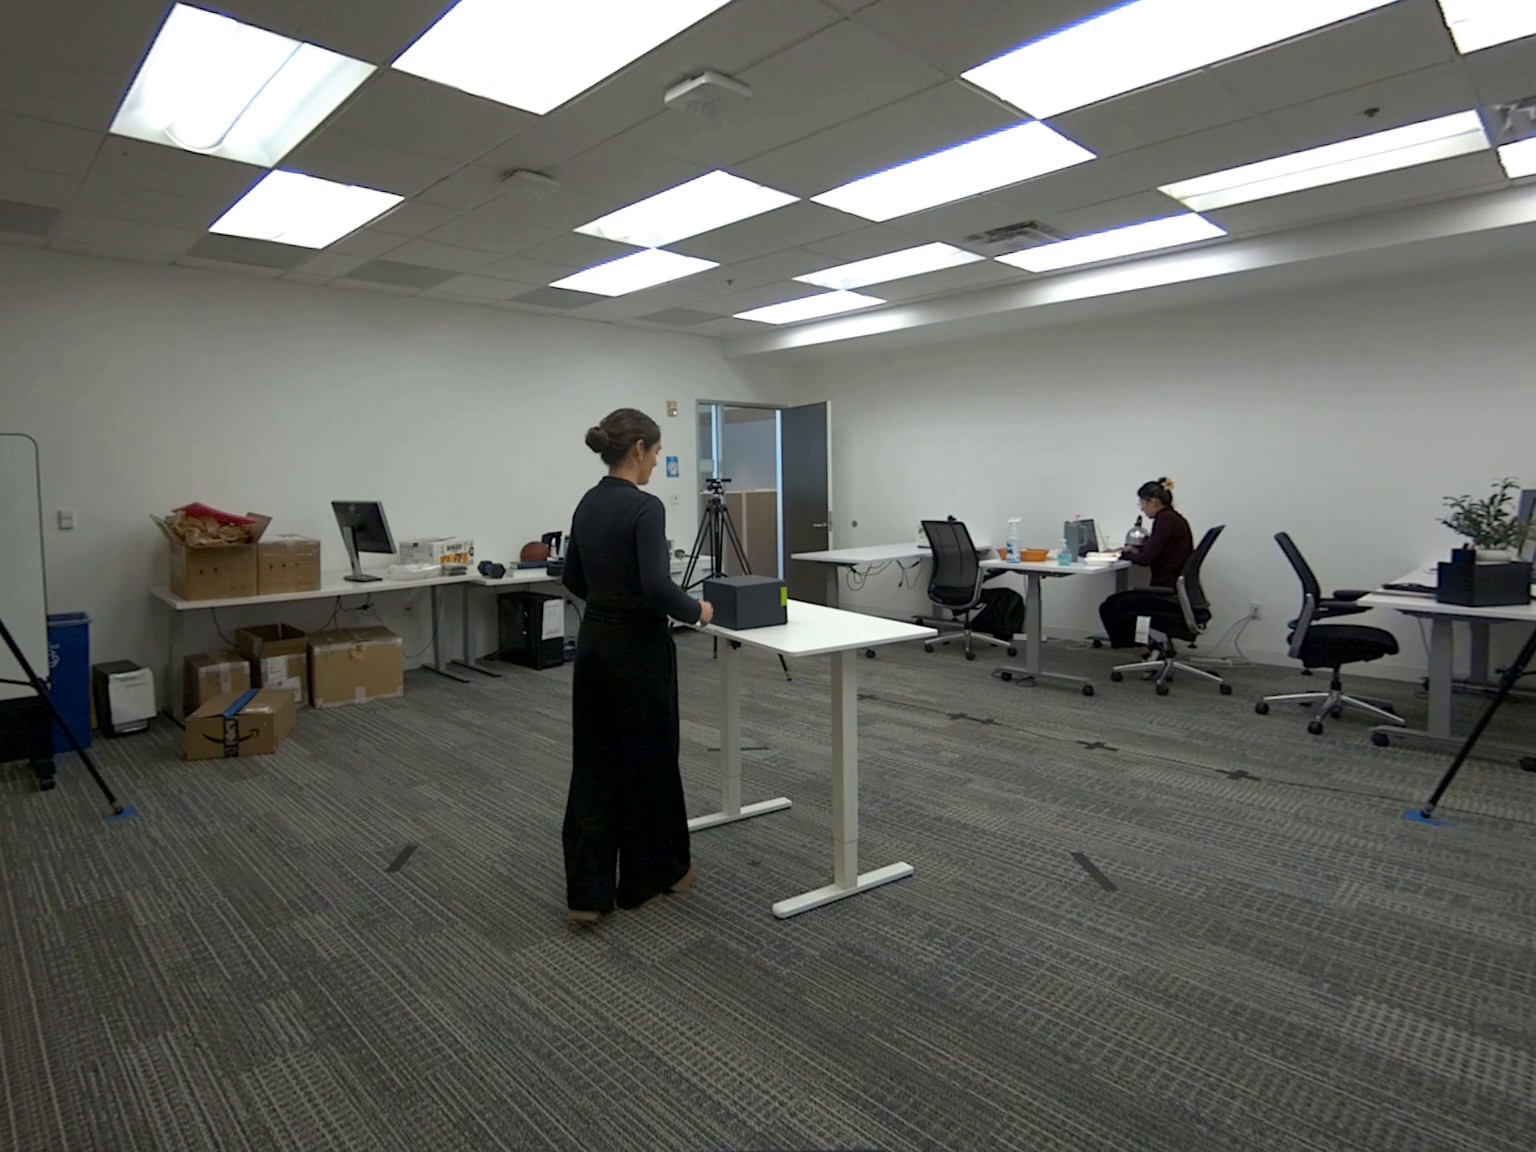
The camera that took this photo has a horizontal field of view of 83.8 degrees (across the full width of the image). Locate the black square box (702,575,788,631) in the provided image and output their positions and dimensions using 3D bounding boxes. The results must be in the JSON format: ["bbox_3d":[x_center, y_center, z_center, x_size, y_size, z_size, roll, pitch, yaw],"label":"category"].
[{"bbox_3d":[-0.078,0.090,3.049,0.212,0.155,0.234,-5,7,-33],"label":"black square box"}]
